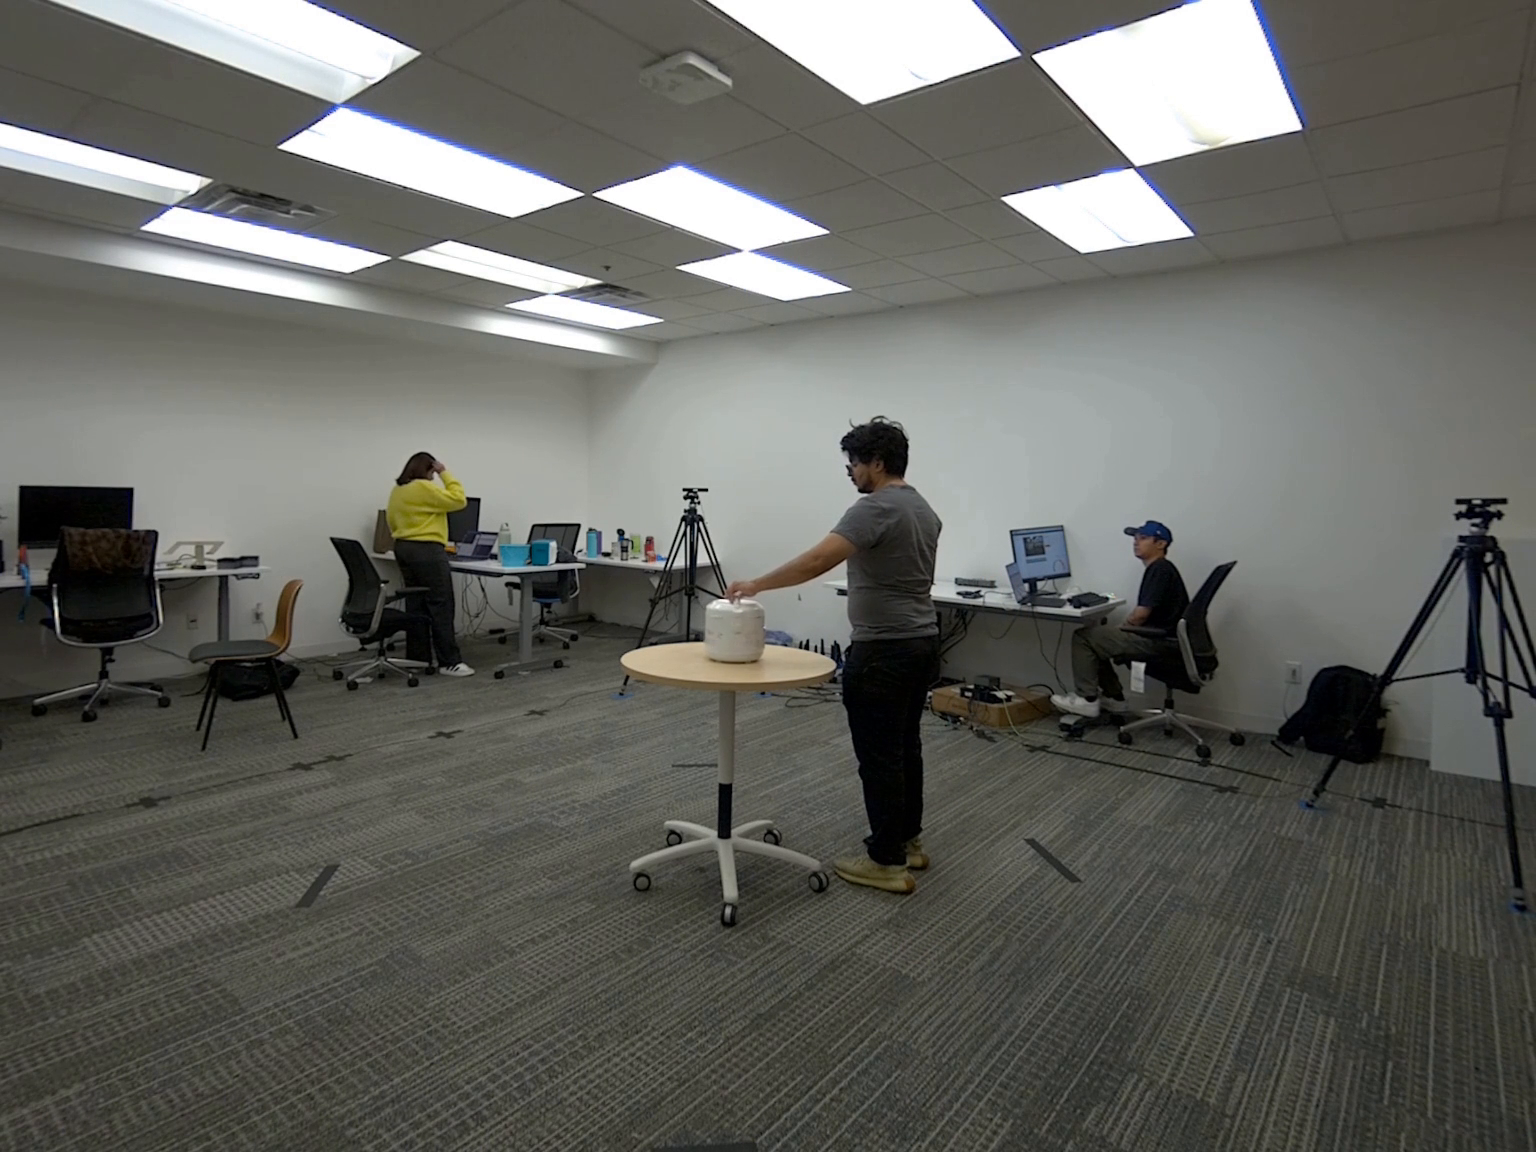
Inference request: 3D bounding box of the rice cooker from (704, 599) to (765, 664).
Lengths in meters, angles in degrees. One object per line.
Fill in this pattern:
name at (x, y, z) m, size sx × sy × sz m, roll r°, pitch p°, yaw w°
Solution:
rice cooker at (-0.130, 0.178, 3.059) m, size 0.216 × 0.232 × 0.223 m, roll 0°, pitch 4°, yaw -6°
